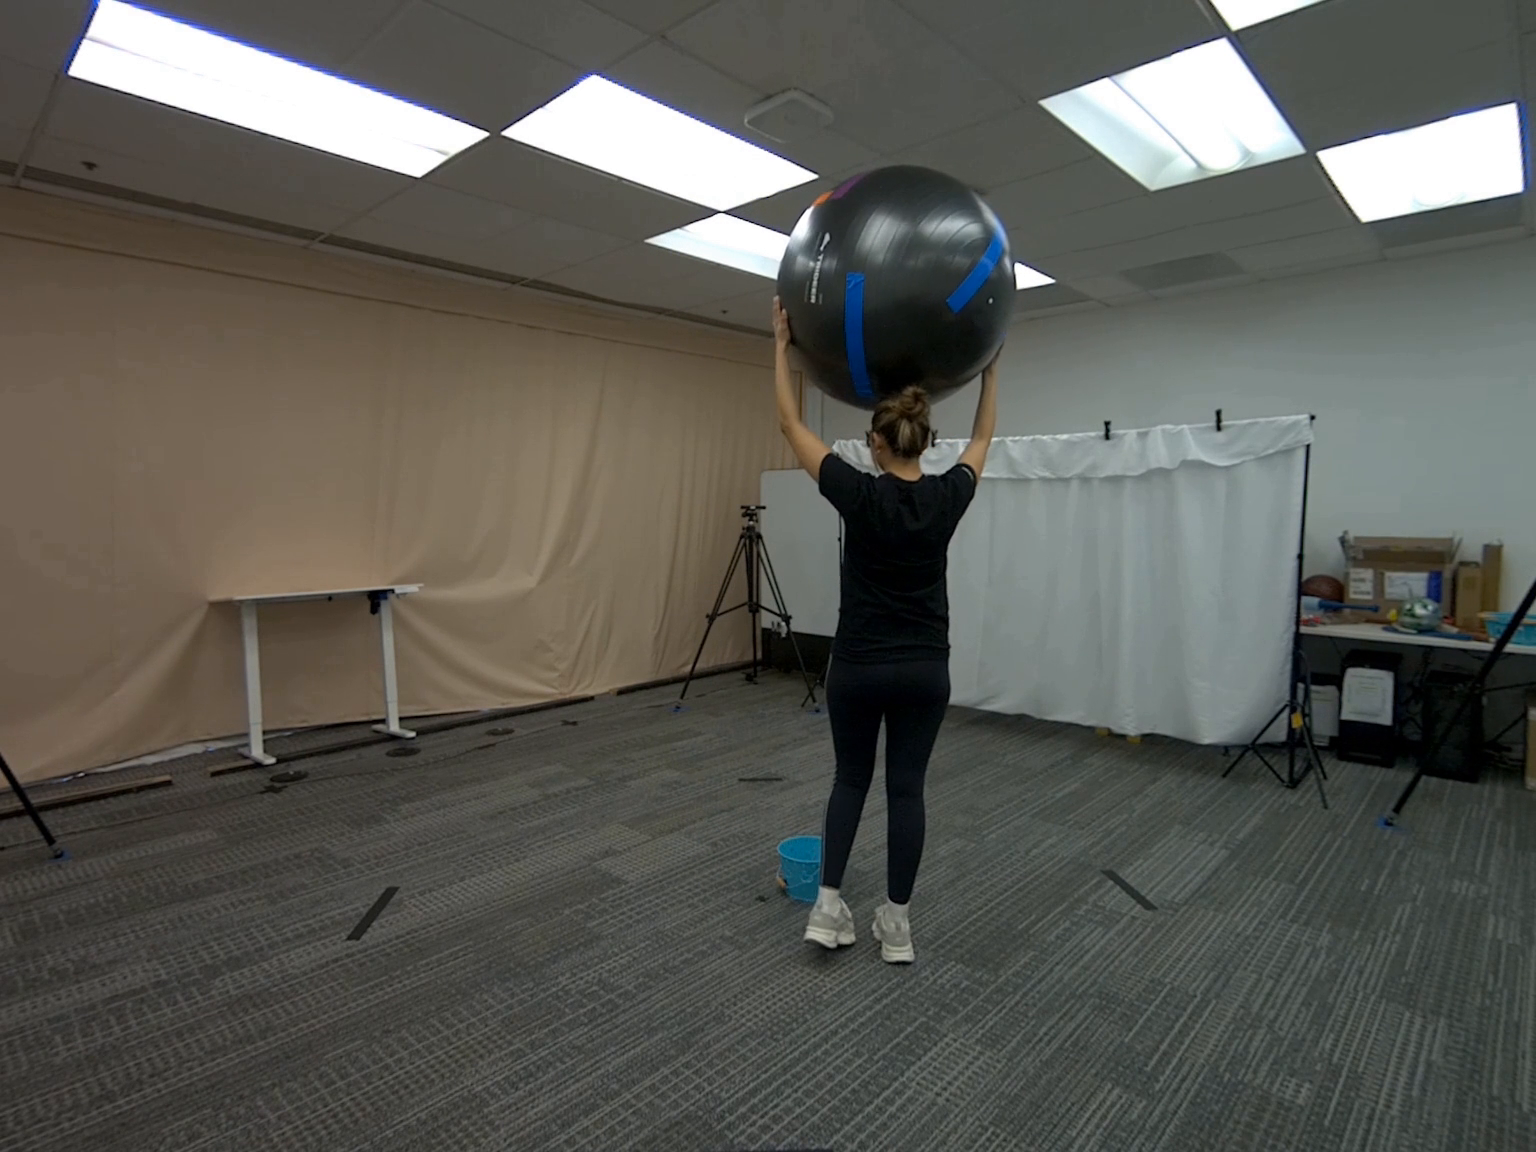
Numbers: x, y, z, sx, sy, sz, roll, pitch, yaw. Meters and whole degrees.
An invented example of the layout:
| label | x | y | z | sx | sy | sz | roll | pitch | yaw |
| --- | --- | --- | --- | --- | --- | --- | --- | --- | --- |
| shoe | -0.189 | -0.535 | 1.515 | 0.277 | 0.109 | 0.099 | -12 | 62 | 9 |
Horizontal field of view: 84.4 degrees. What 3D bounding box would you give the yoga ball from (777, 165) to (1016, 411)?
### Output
| label | x | y | z | sx | sy | sz | roll | pitch | yaw |
| --- | --- | --- | --- | --- | --- | --- | --- | --- | --- |
| yoga ball | 0.406 | -0.904 | 2.709 | 0.757 | 0.756 | 0.760 | 0 | 4 | -2 |
